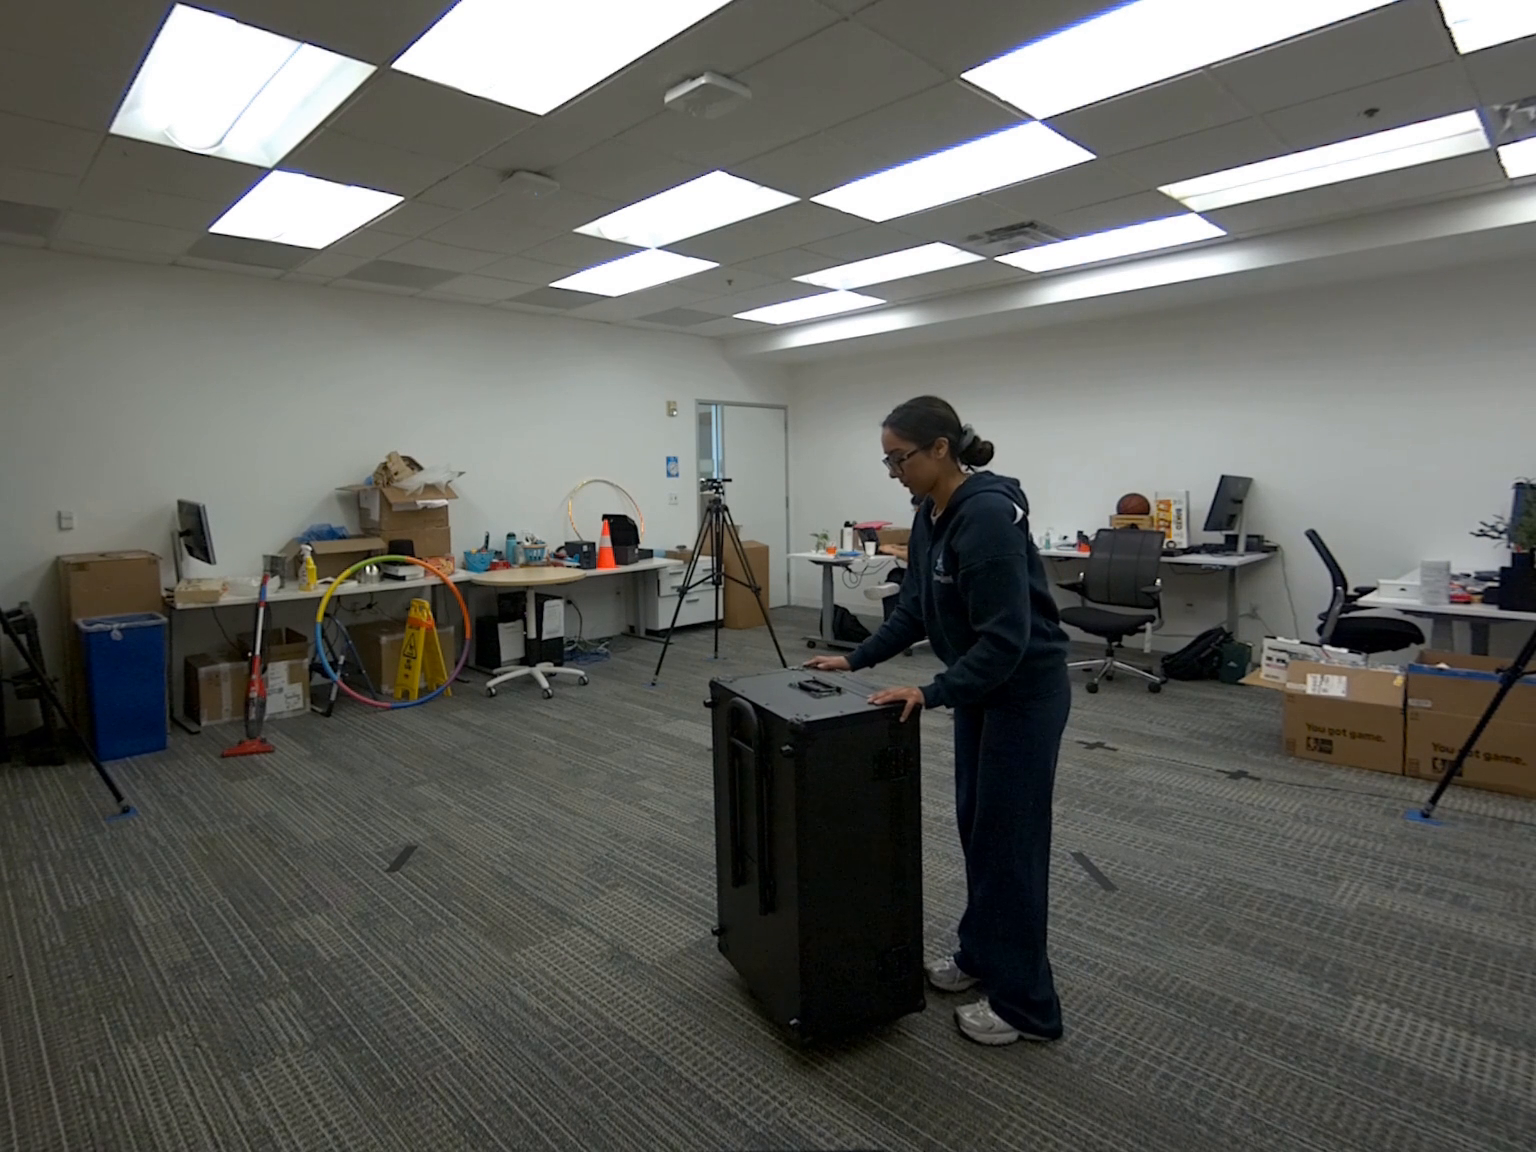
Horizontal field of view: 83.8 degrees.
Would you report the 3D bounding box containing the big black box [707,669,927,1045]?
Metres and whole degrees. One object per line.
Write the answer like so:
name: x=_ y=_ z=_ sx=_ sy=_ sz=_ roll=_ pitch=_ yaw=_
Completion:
big black box: x=0.109 y=0.719 z=2.237 sx=0.388 sy=0.857 sz=0.534 roll=-4 pitch=6 yaw=-26
